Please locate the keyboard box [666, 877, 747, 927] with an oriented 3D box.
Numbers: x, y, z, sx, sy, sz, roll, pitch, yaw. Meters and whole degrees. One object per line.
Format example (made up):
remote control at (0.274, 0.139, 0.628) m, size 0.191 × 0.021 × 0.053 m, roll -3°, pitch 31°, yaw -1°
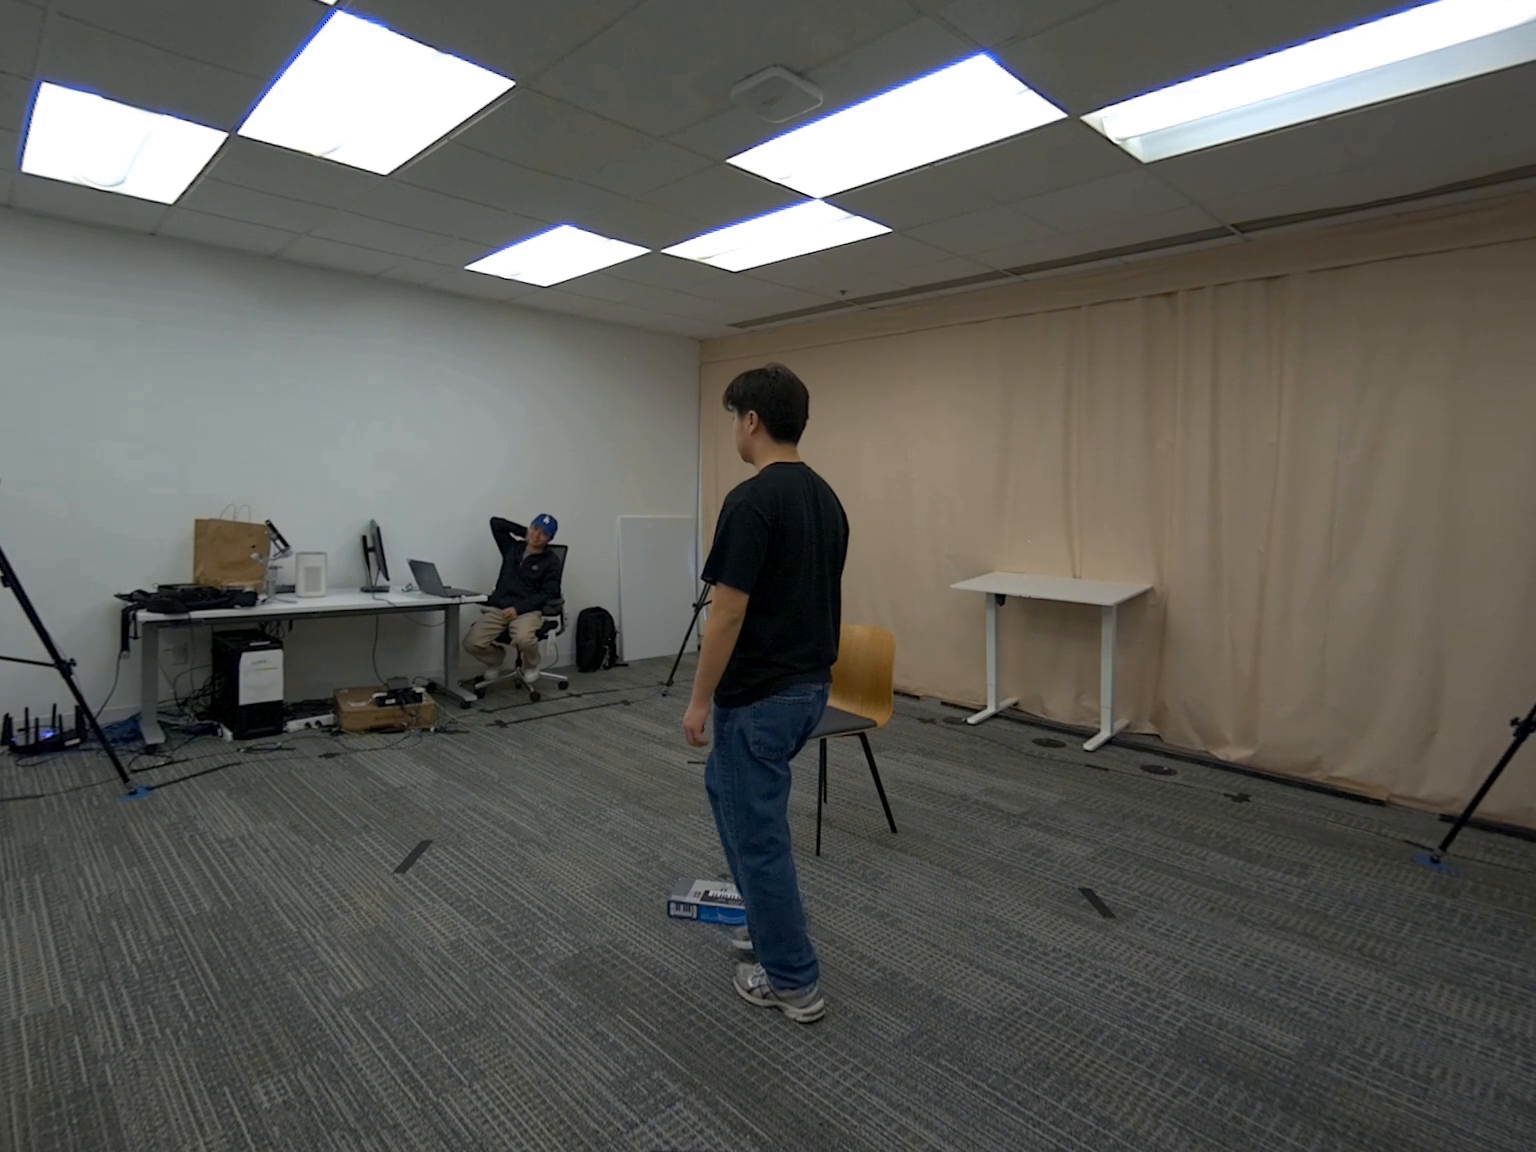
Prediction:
keyboard box at (-0.109, 1.105, 2.825) m, size 0.441 × 0.059 × 0.175 m, roll 2°, pitch 5°, yaw 11°
